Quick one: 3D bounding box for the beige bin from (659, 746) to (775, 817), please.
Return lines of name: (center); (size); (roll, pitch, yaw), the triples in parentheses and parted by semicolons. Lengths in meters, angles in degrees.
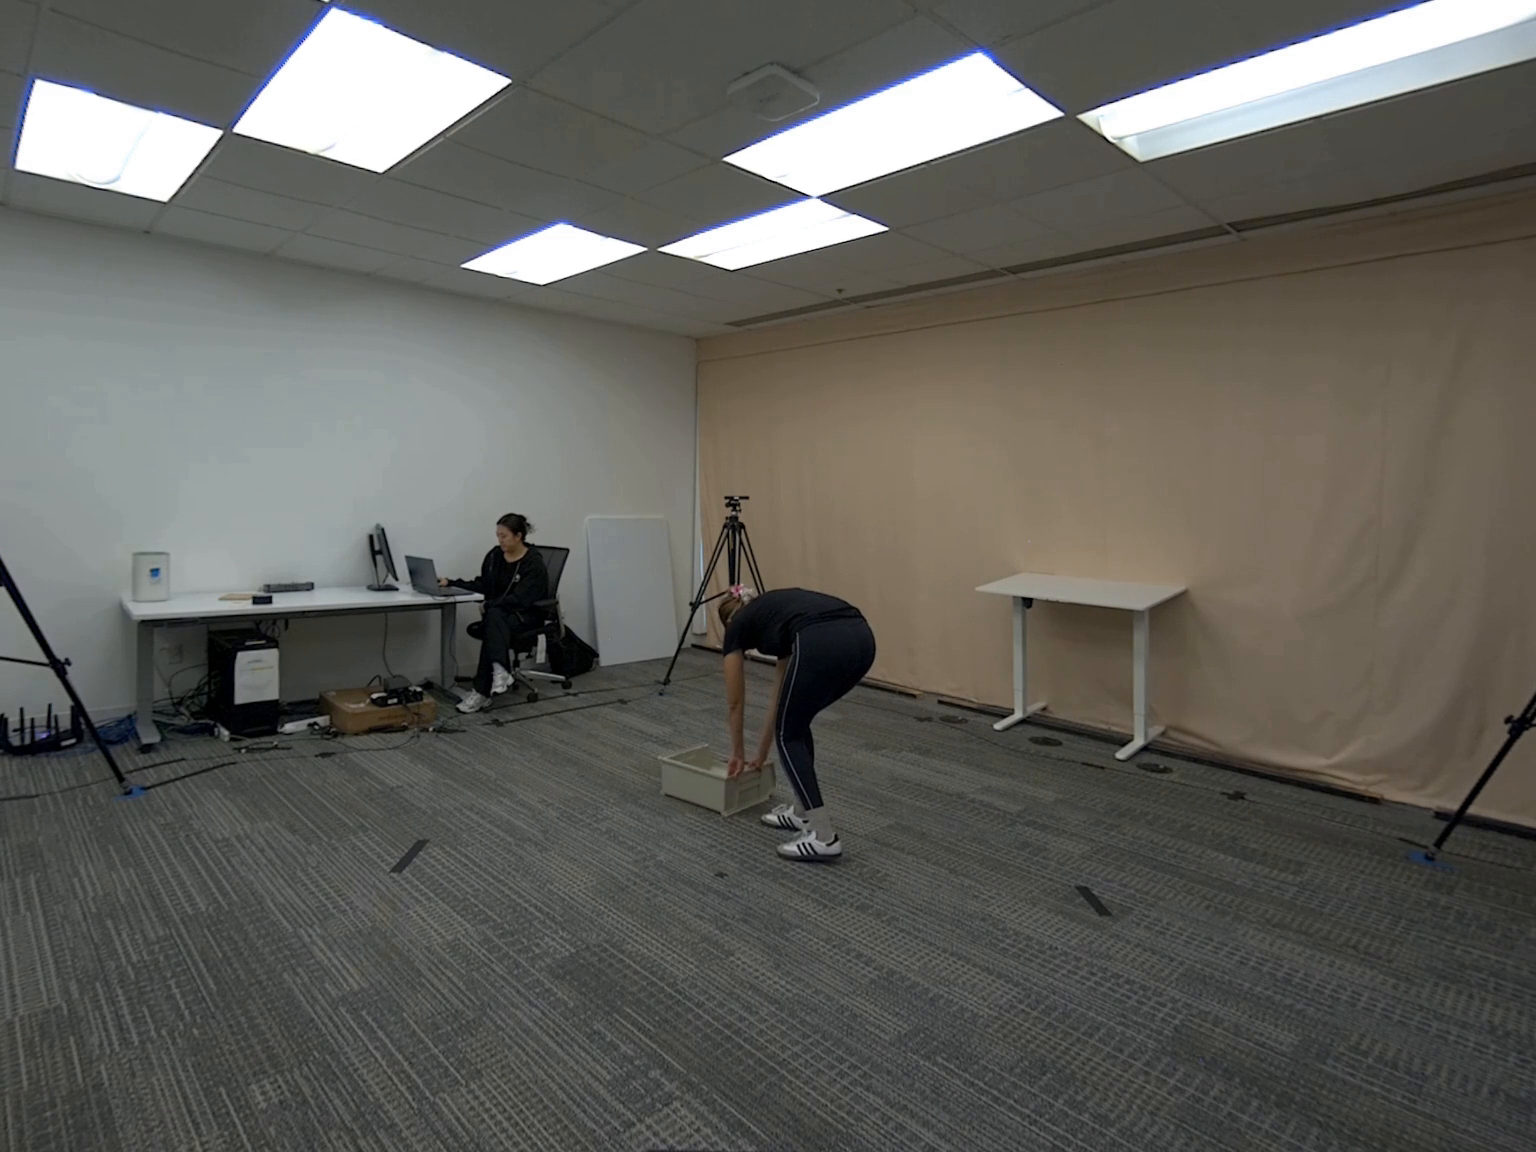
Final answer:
beige bin: (-0.242, 0.938, 3.938); (0.433, 0.188, 0.369); (6, 7, 39)
